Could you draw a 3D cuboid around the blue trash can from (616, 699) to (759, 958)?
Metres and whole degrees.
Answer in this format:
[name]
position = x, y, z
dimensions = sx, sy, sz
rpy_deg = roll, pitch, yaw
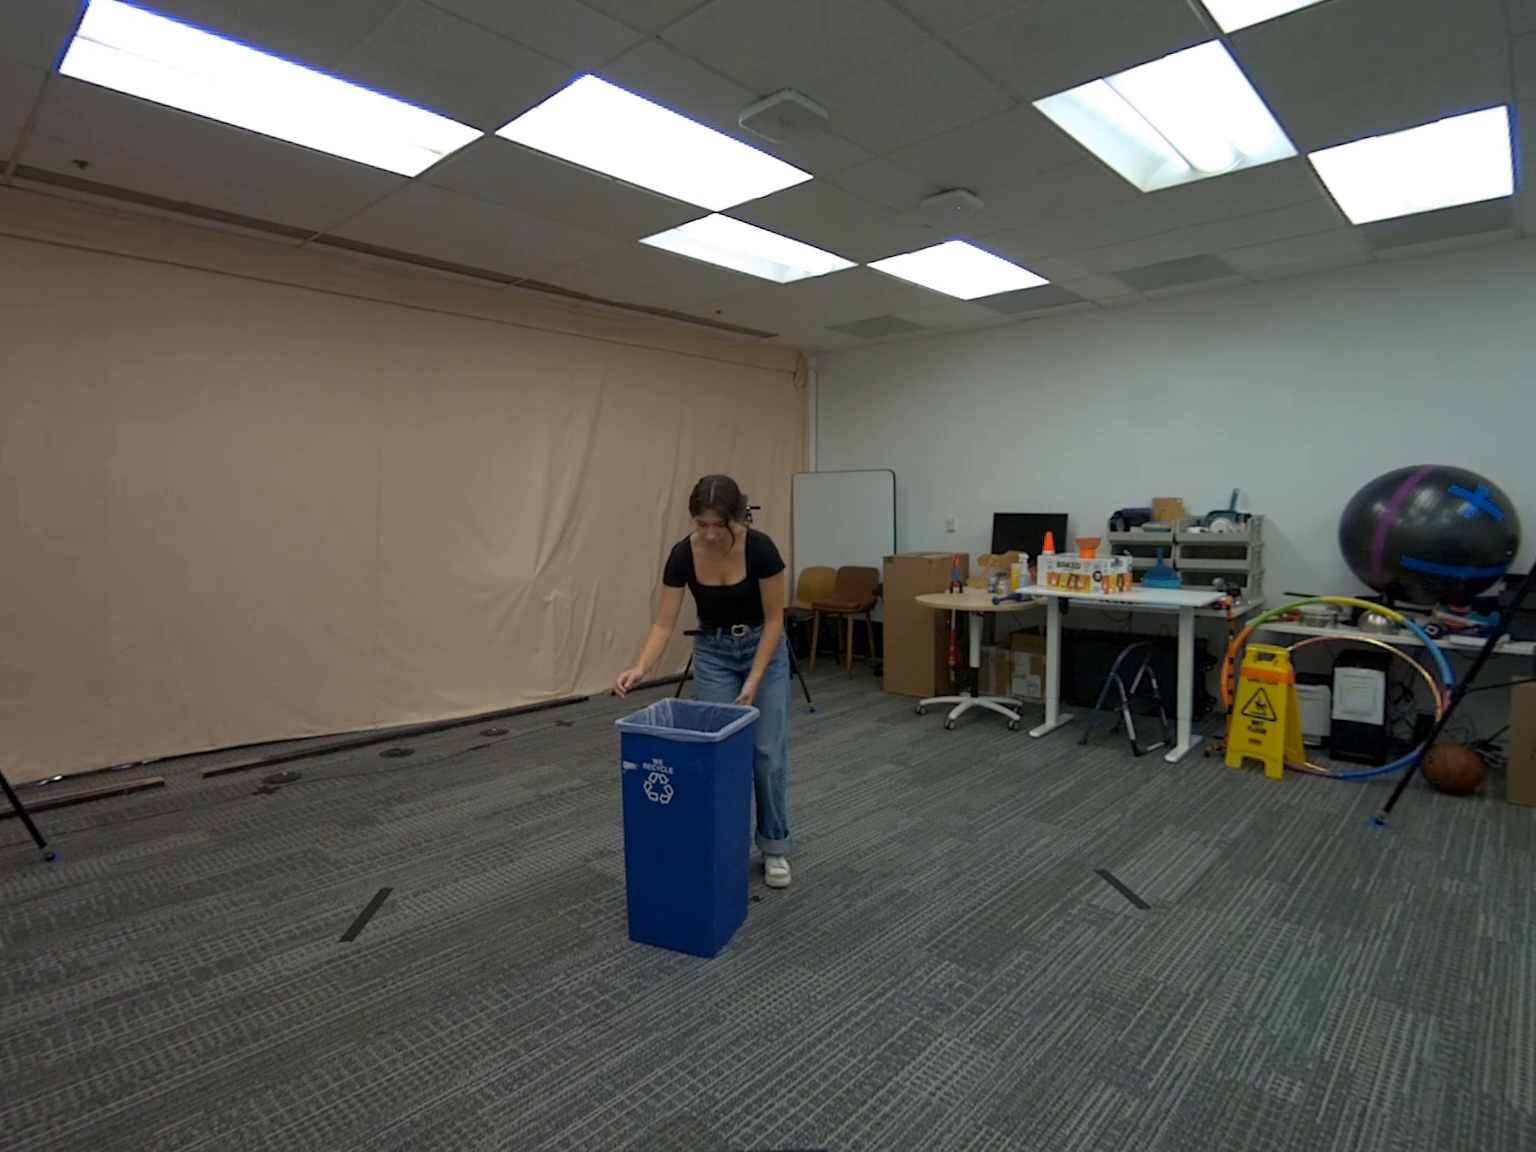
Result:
[blue trash can]
position = -0.251, 0.804, 2.759
dimensions = 0.383, 0.712, 0.370
rpy_deg = 1, 3, 23
